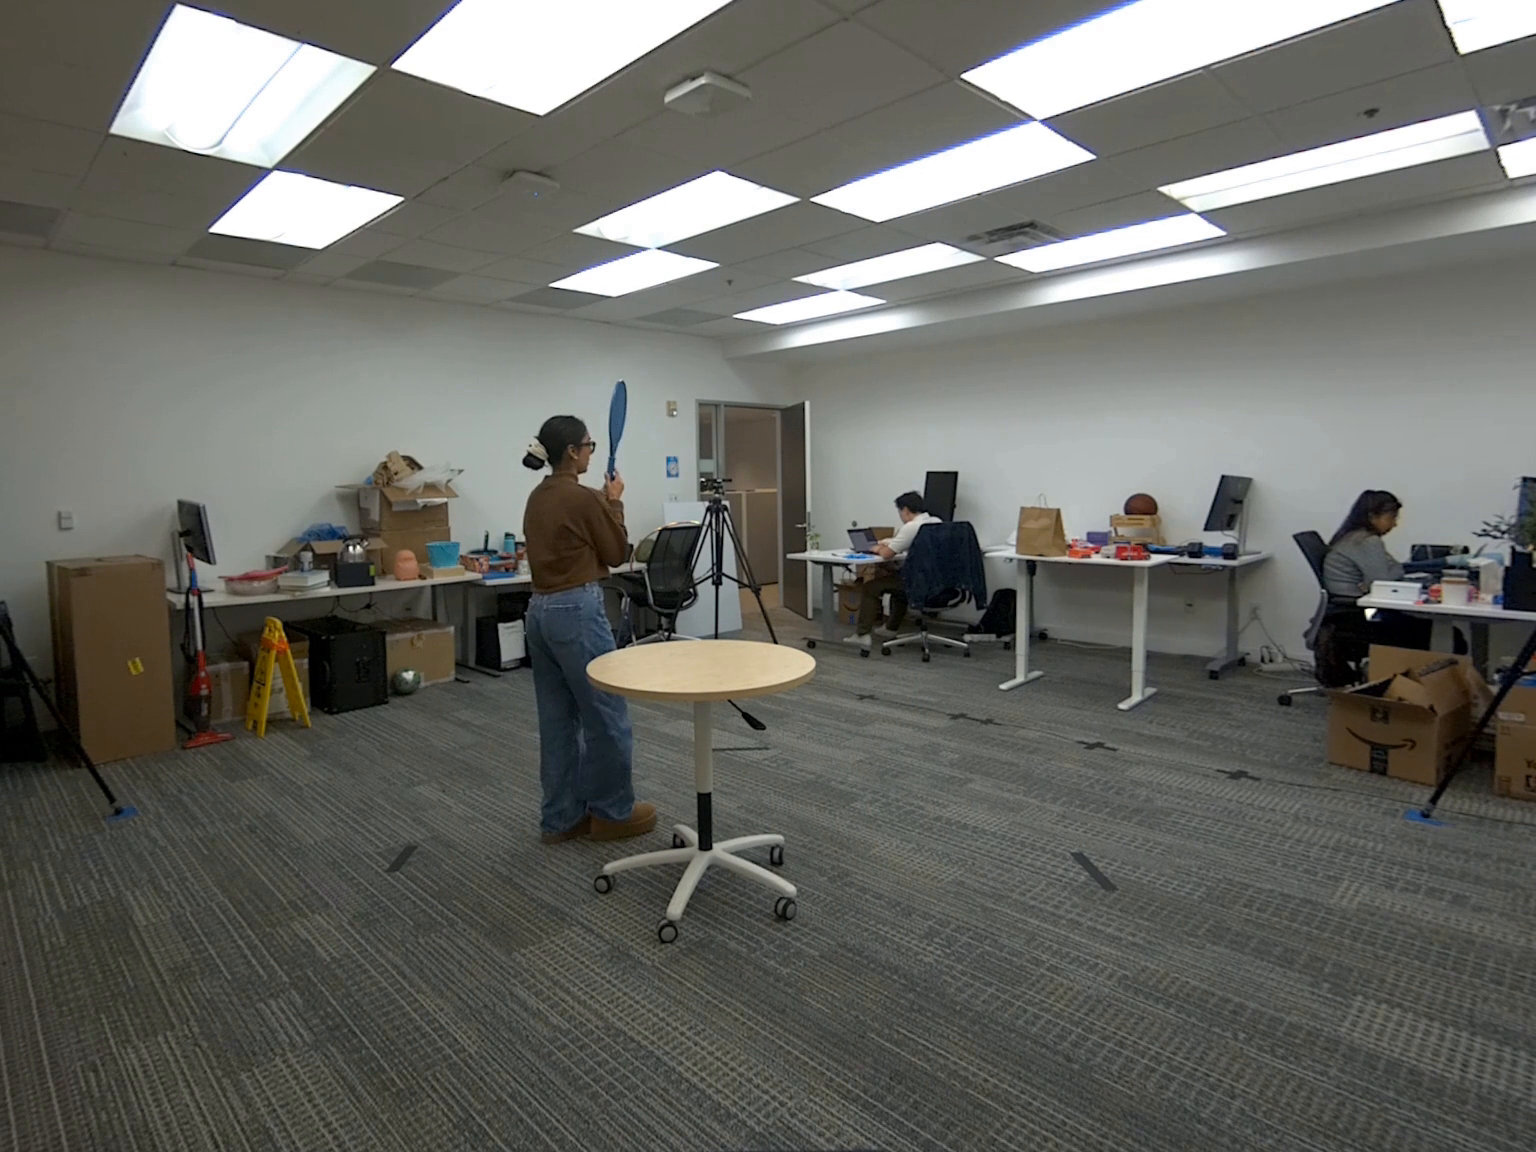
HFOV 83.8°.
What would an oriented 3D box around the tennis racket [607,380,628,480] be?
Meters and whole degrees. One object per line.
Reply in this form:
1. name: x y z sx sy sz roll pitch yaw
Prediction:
1. tennis racket: -0.612 -0.573 3.423 0.032 0.433 0.211 8 1 8
